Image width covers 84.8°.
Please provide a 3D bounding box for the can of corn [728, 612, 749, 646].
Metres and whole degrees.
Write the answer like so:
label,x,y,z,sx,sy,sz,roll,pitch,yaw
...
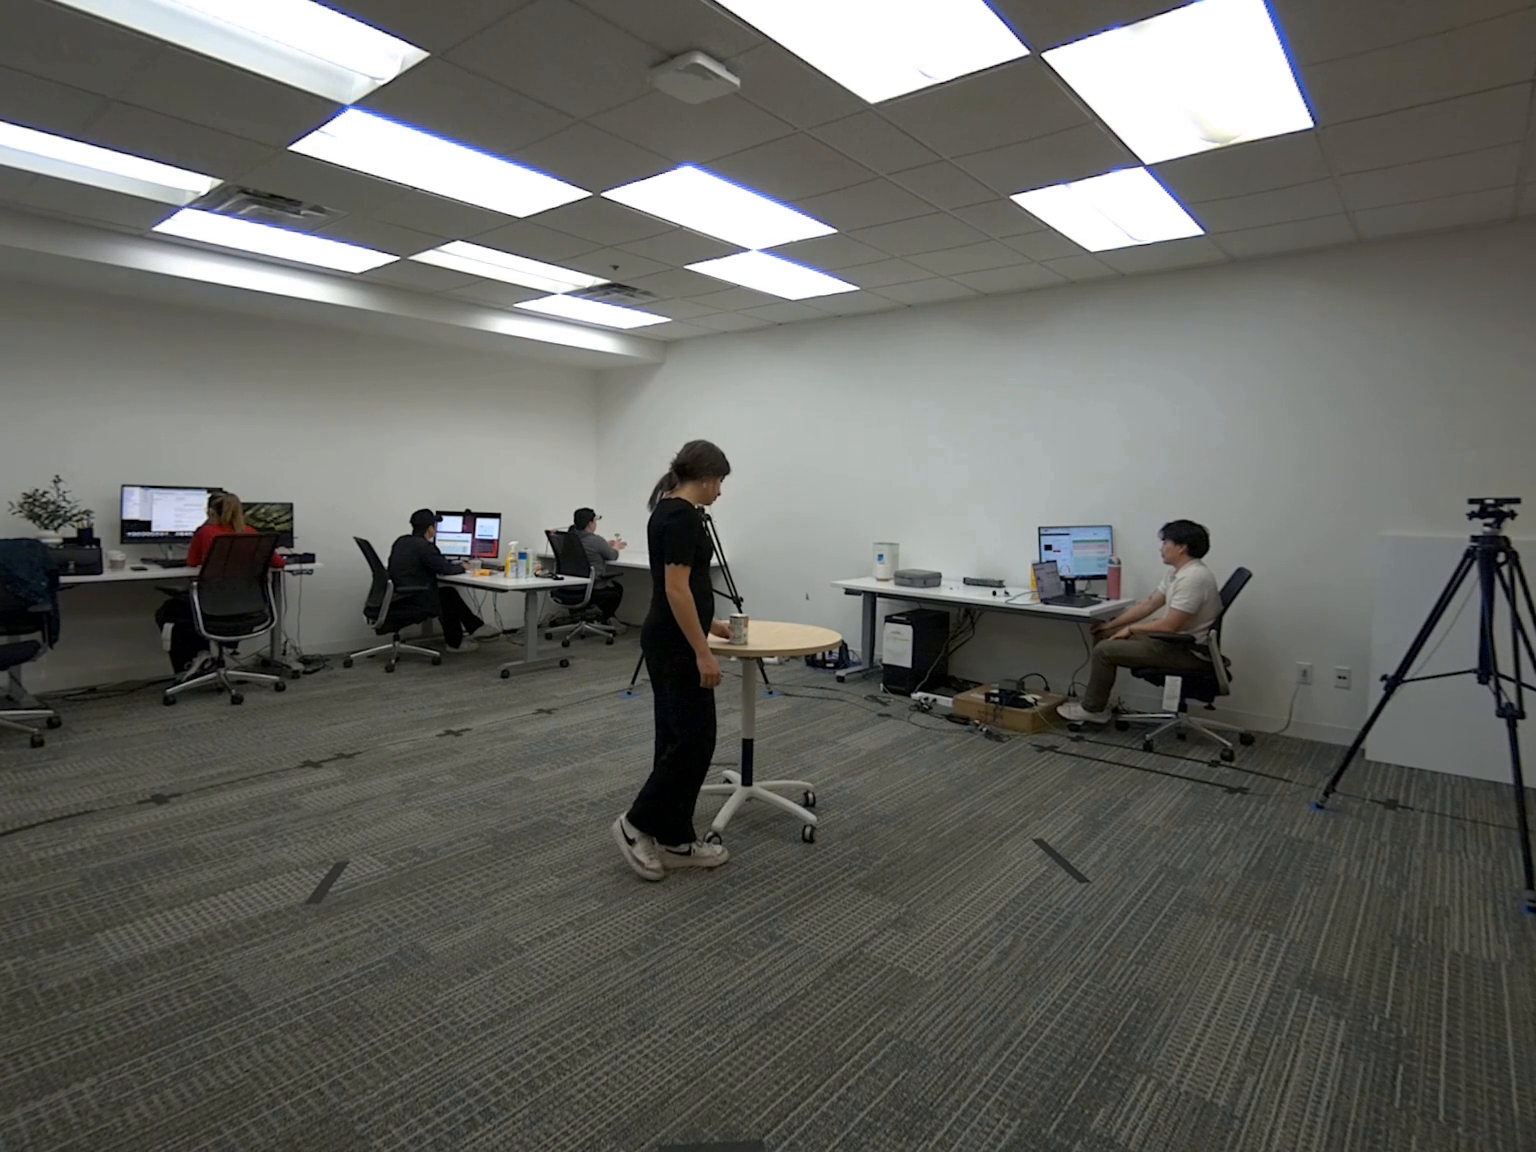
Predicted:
label,x,y,z,sx,sy,sz,roll,pitch,yaw
can of corn,-0.128,0.212,3.310,0.074,0.111,0.074,-3,3,-2
